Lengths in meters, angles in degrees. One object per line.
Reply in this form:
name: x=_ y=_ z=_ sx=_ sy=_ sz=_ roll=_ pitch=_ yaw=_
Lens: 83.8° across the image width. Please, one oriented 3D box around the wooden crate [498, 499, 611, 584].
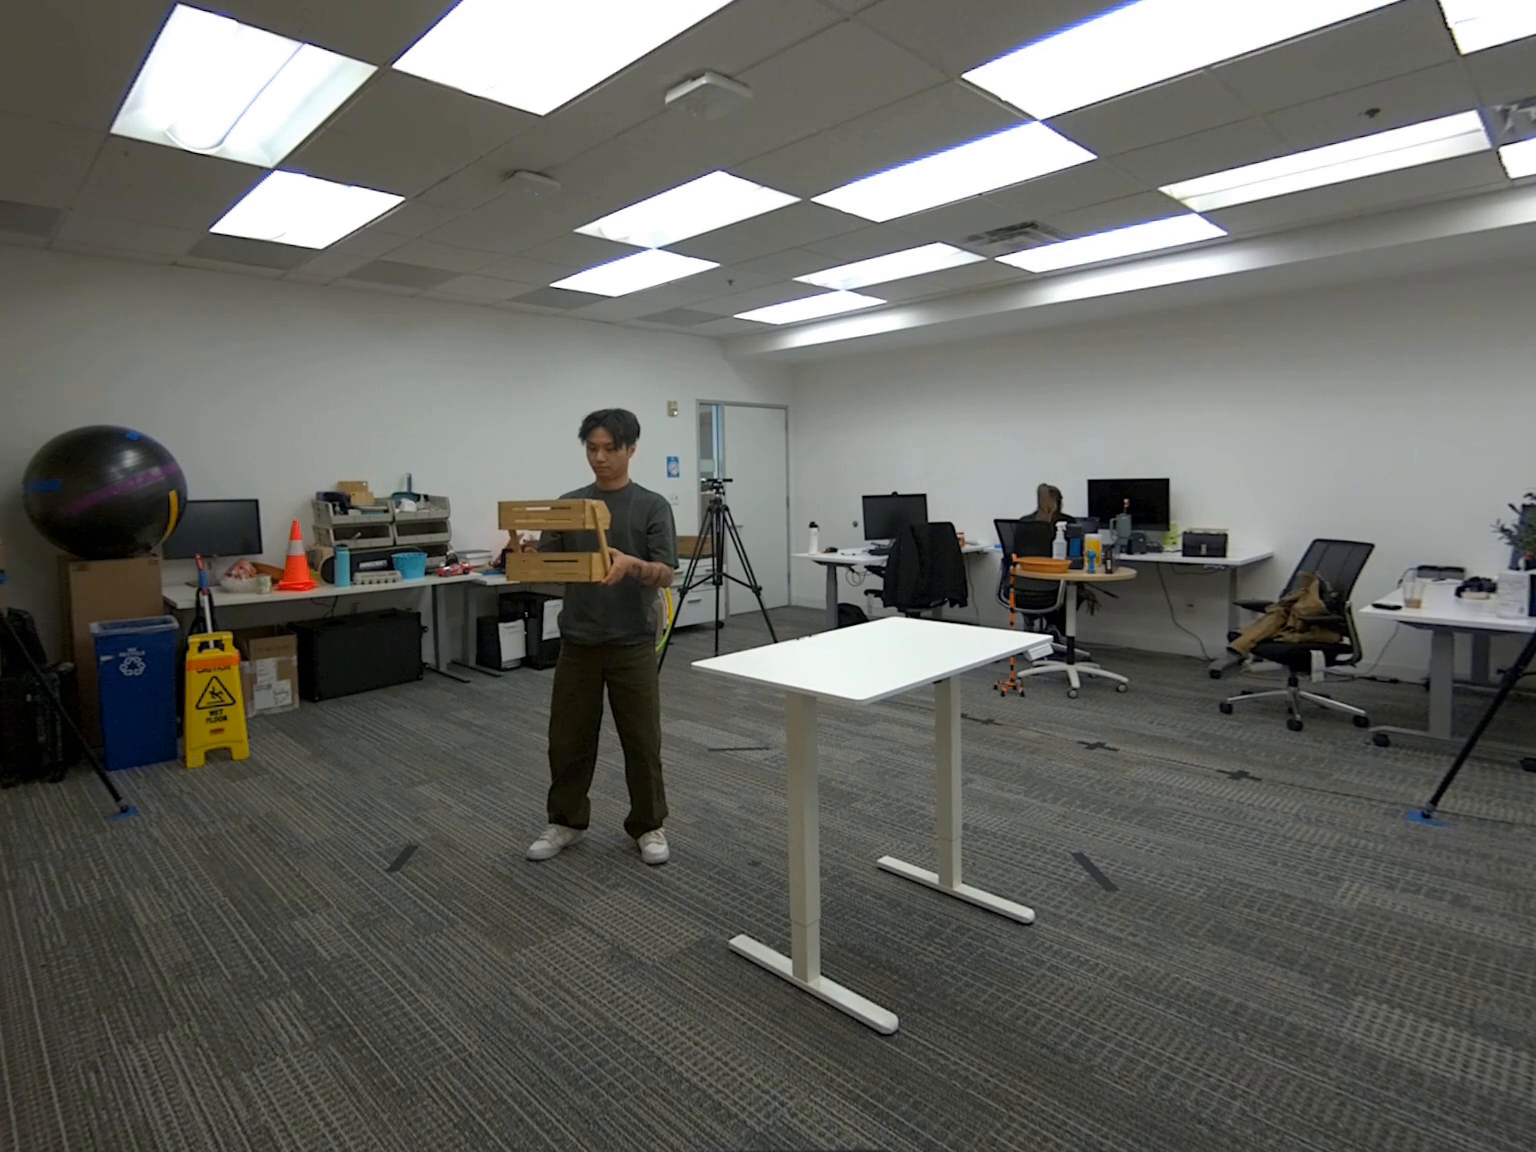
wooden crate: x=-0.695 y=-0.117 z=2.843 sx=0.328 sy=0.273 sz=0.298 roll=-1 pitch=1 yaw=12
